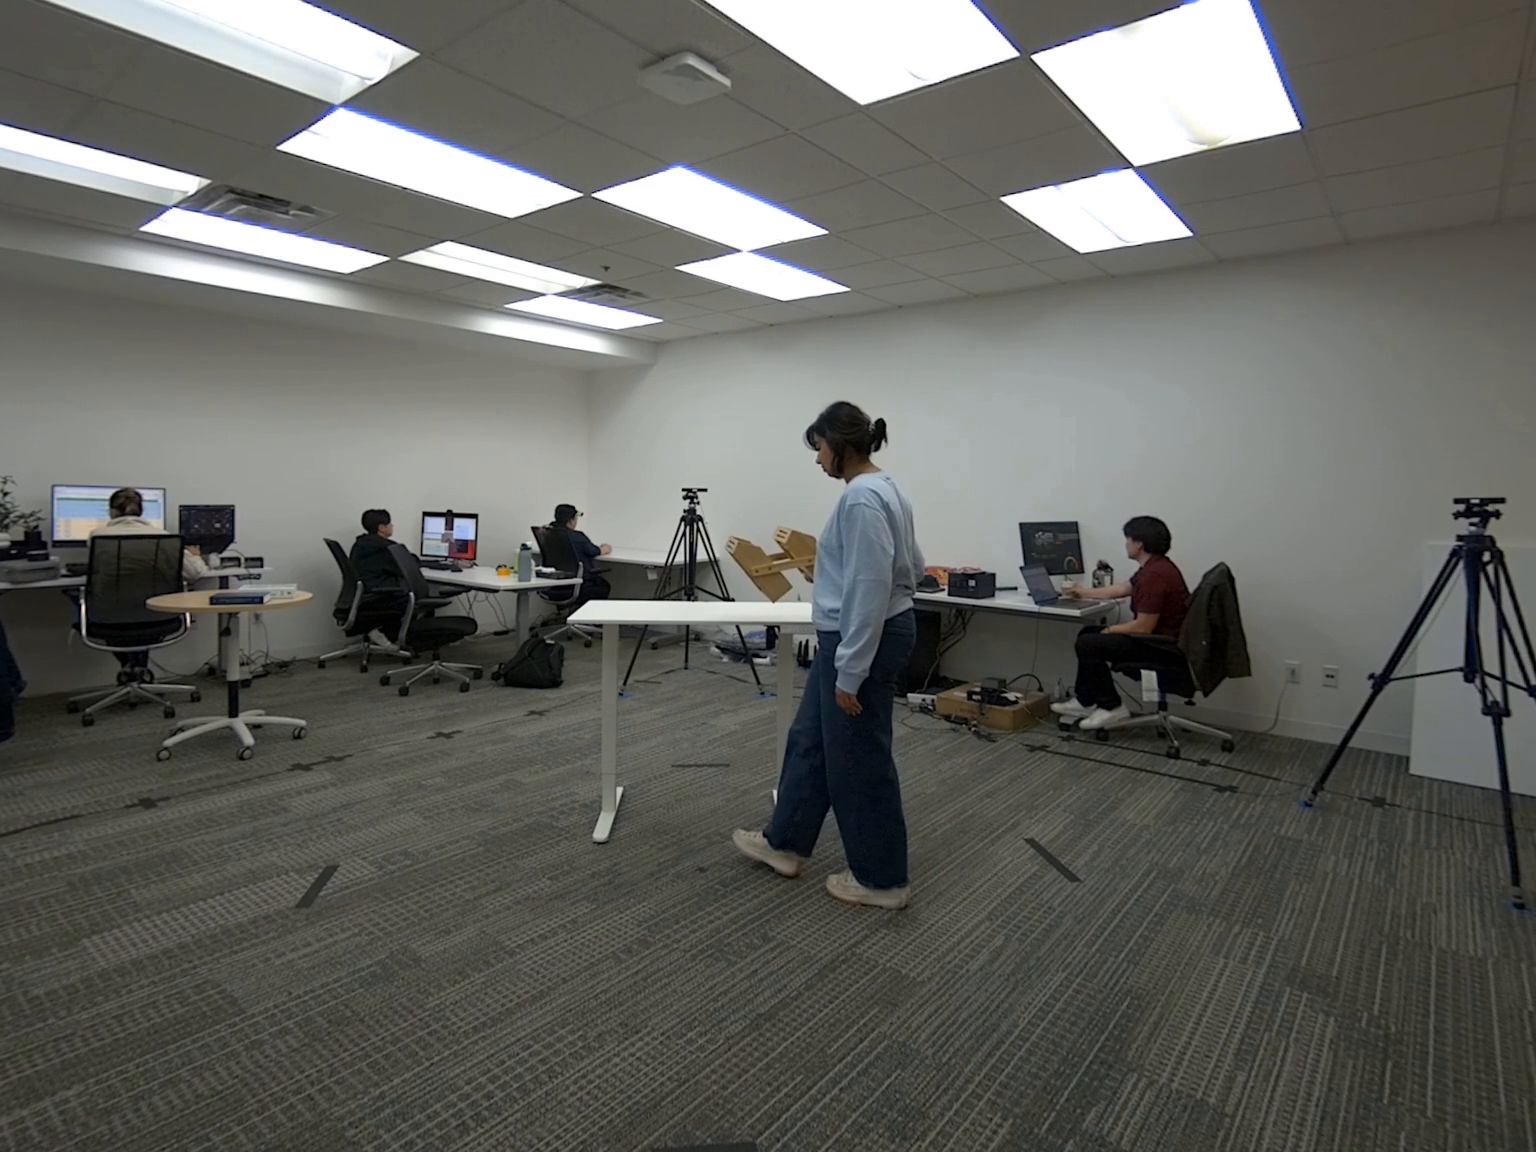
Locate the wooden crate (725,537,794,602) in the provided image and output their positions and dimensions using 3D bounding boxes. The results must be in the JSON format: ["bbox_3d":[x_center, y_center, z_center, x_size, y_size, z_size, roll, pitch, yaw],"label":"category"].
[{"bbox_3d":[0.025,-0.082,3.161,0.273,0.299,0.328,-39,9,-1],"label":"wooden crate"}]
